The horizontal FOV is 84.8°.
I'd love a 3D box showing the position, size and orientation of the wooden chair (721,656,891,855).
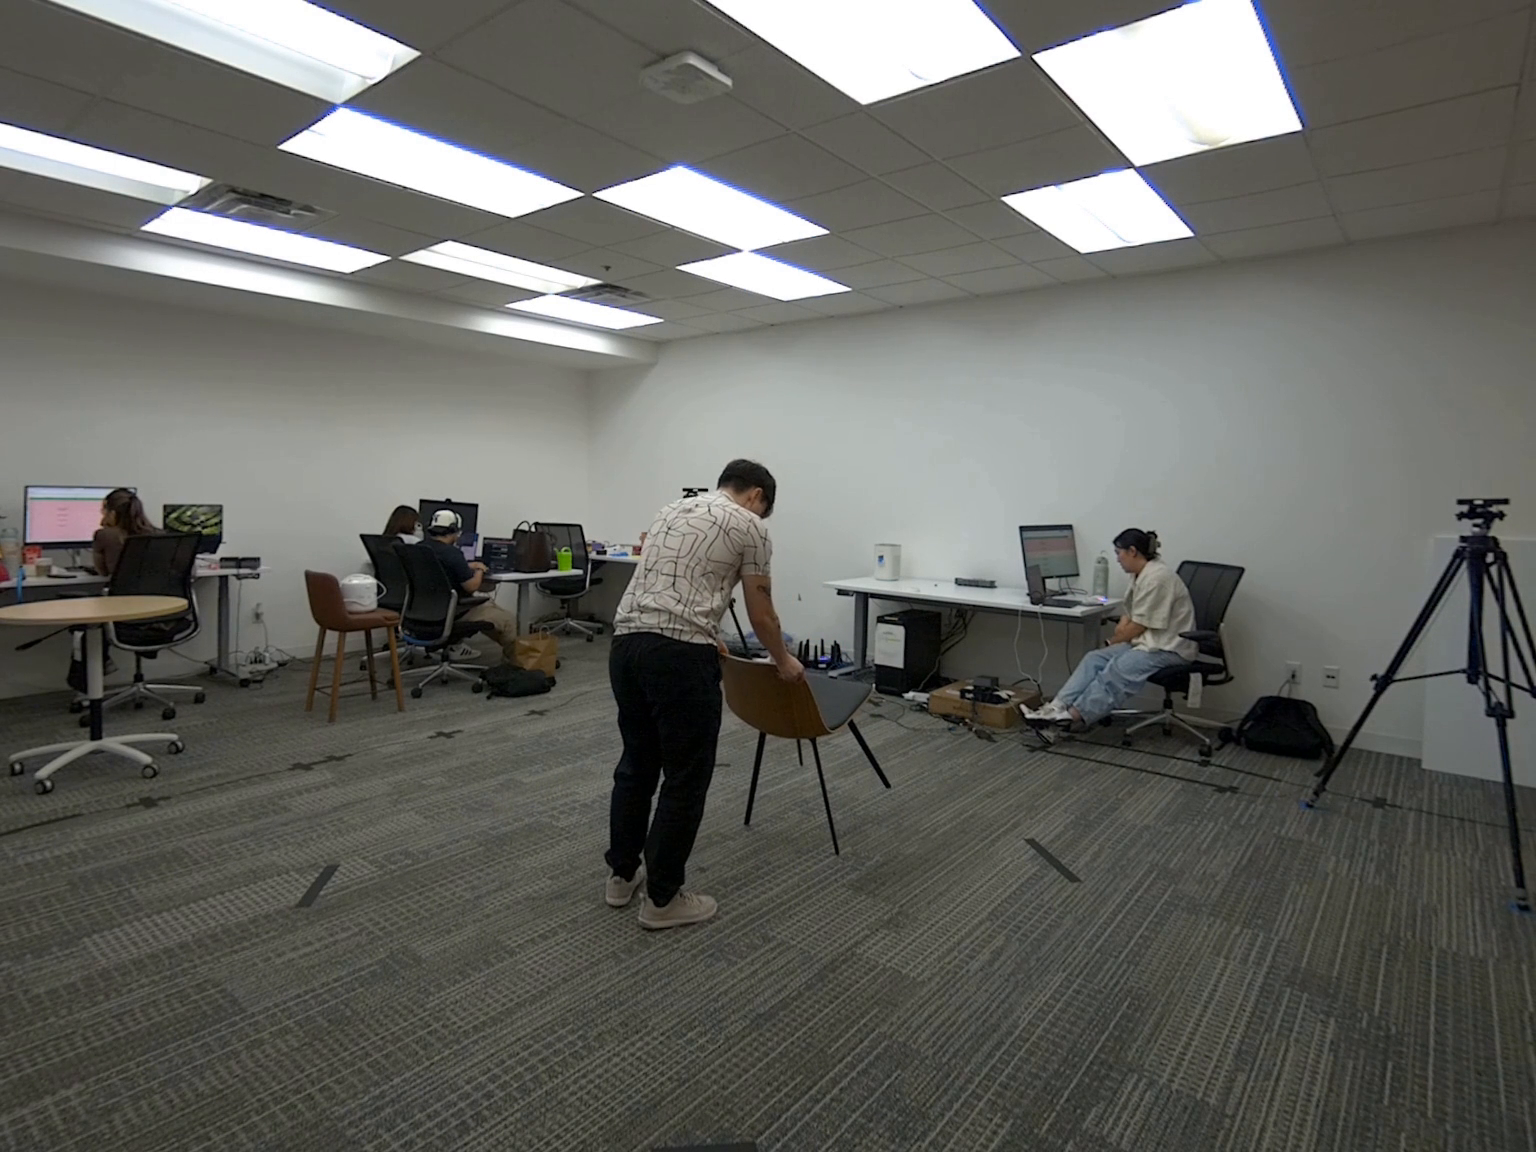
[{"bbox_3d":[0.129,0.566,3.428,0.494,0.856,0.519,4,29,37],"label":"wooden chair"}]
